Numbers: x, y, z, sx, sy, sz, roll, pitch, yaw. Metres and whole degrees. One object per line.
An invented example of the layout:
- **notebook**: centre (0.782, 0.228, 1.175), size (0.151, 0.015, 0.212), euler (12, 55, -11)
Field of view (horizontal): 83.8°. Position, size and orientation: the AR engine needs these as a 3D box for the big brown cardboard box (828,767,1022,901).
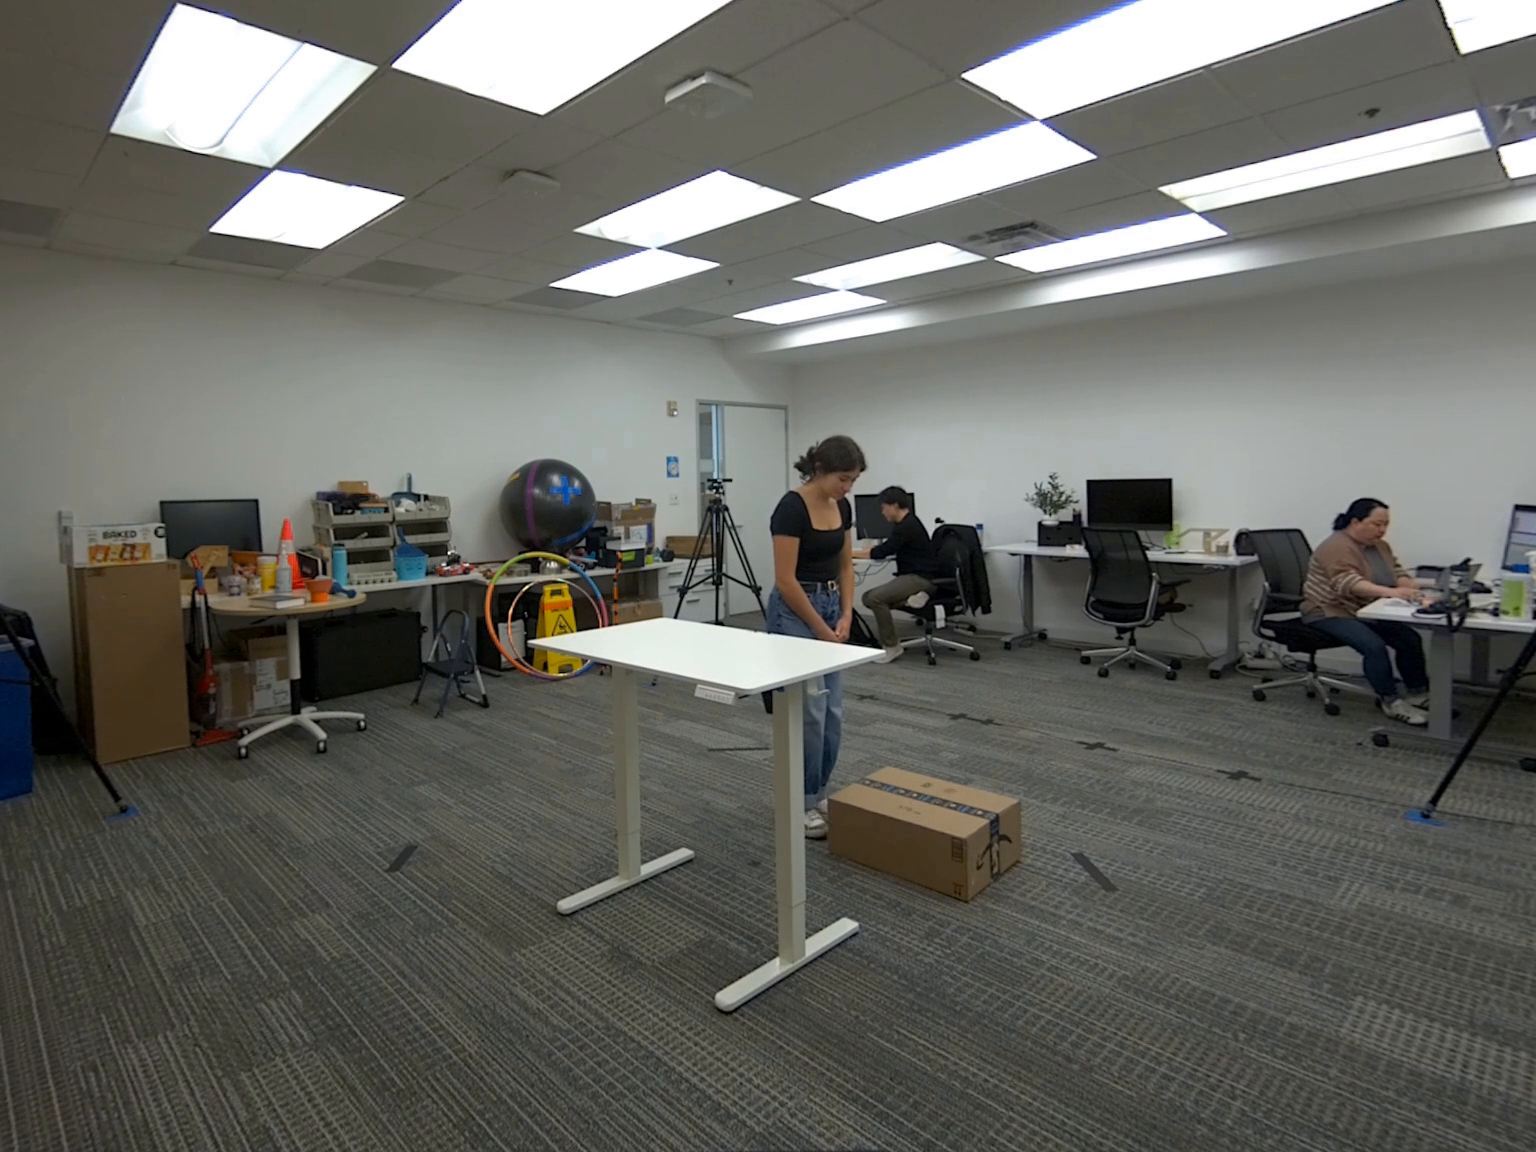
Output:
- **big brown cardboard box**: centre (0.574, 0.921, 3.123), size (0.607, 0.232, 0.407), euler (5, 10, 42)
